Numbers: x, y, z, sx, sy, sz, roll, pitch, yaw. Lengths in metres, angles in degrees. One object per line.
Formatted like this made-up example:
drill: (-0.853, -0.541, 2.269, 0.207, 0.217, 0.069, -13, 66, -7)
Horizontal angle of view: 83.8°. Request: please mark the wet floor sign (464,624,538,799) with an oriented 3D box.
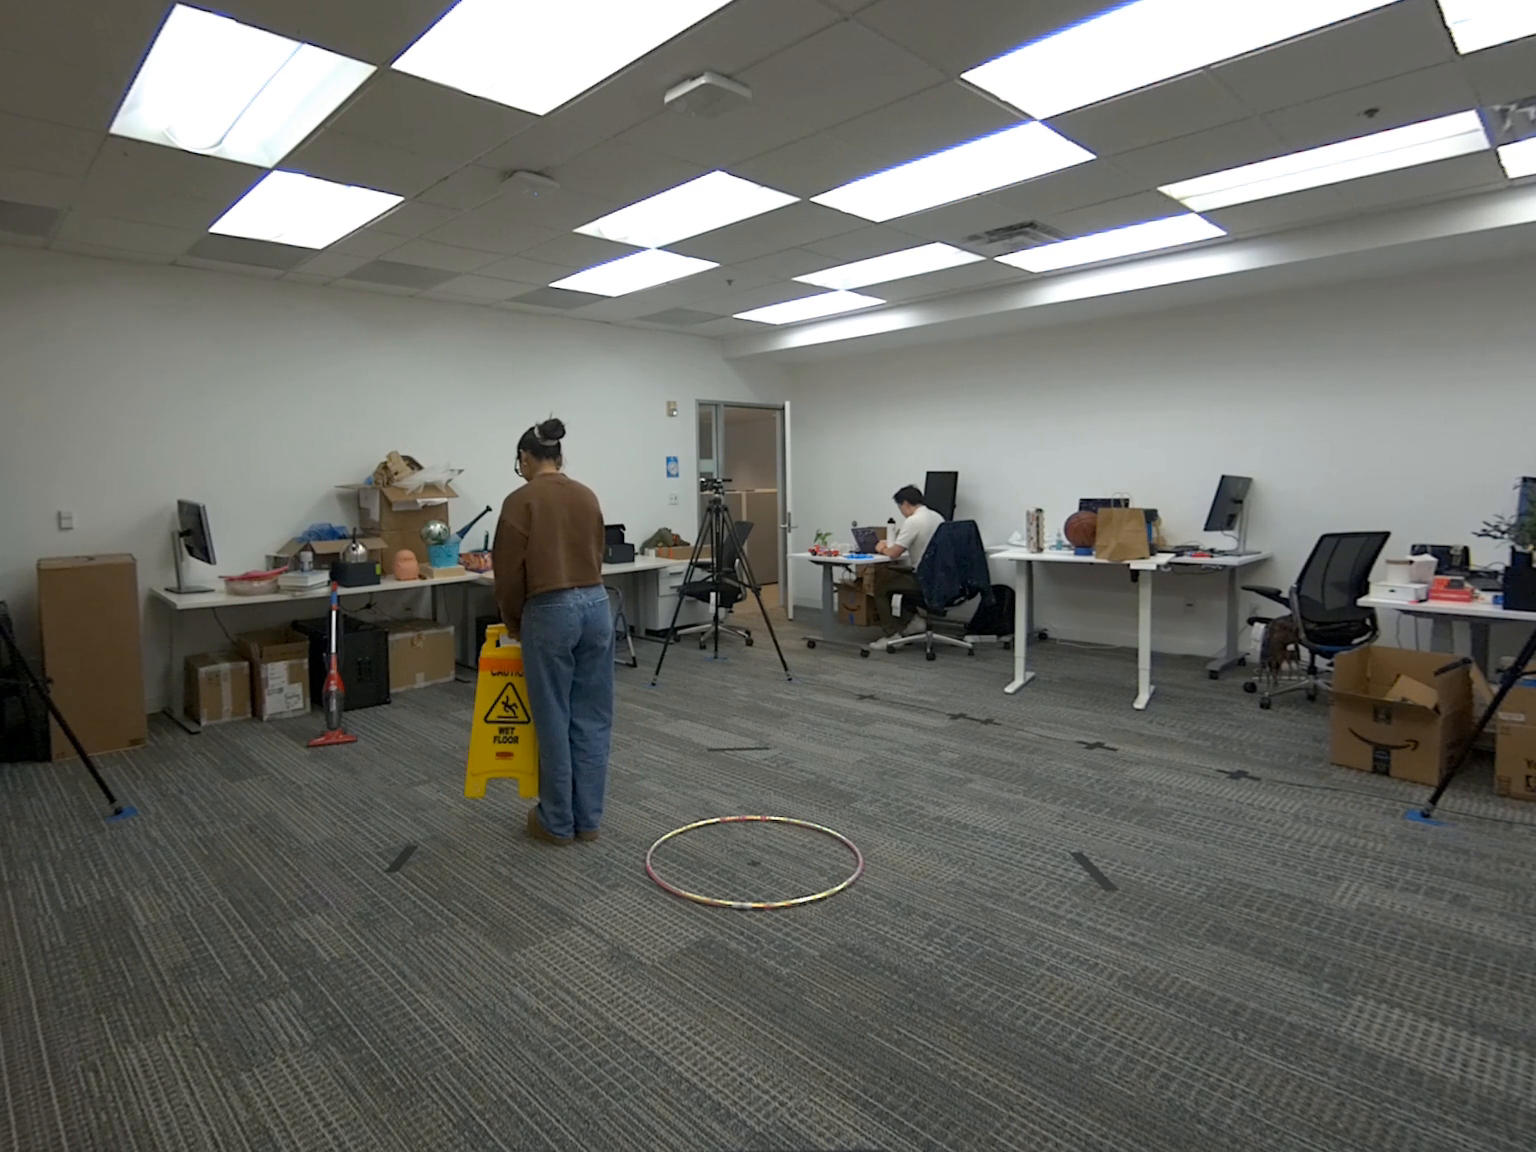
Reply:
wet floor sign: (-1.037, 0.517, 3.408, 0.278, 0.643, 0.296, 4, 6, -17)
